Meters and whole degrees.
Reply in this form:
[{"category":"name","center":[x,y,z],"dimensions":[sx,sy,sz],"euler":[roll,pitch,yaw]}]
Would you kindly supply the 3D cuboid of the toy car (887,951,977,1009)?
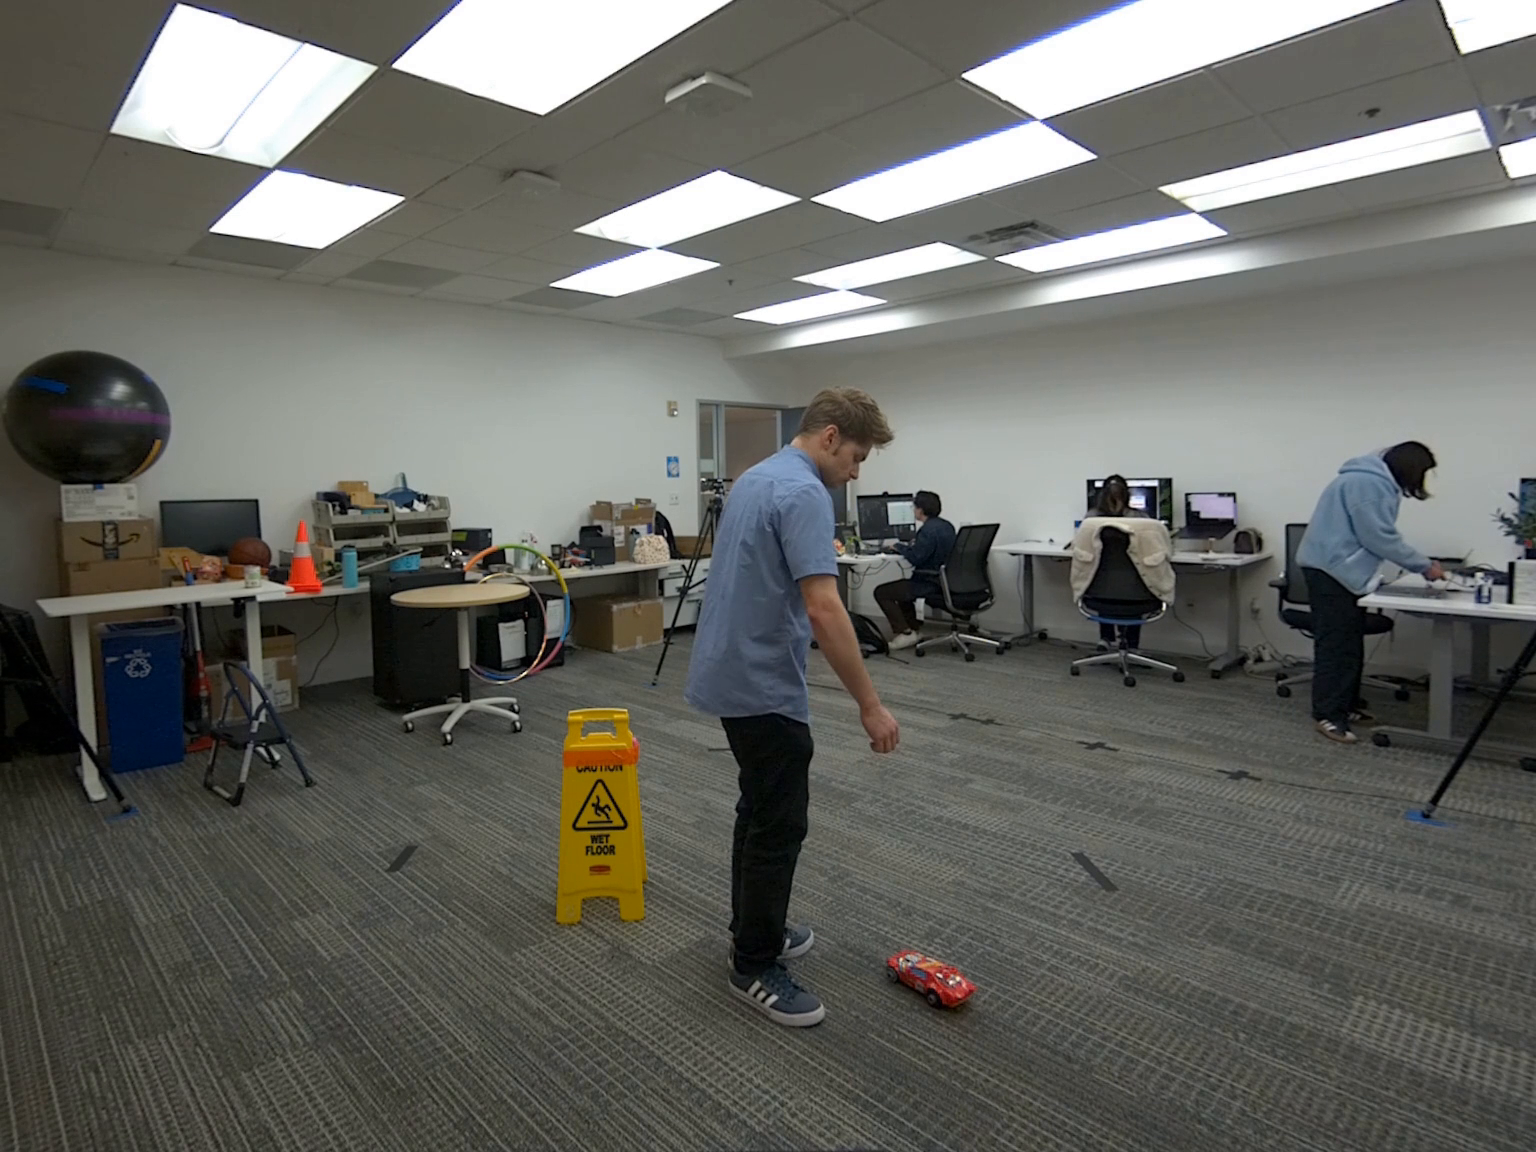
[{"category":"toy car","center":[0.444,1.093,2.315],"dimensions":[0.127,0.083,0.260],"euler":[-6,-3,-37]}]
